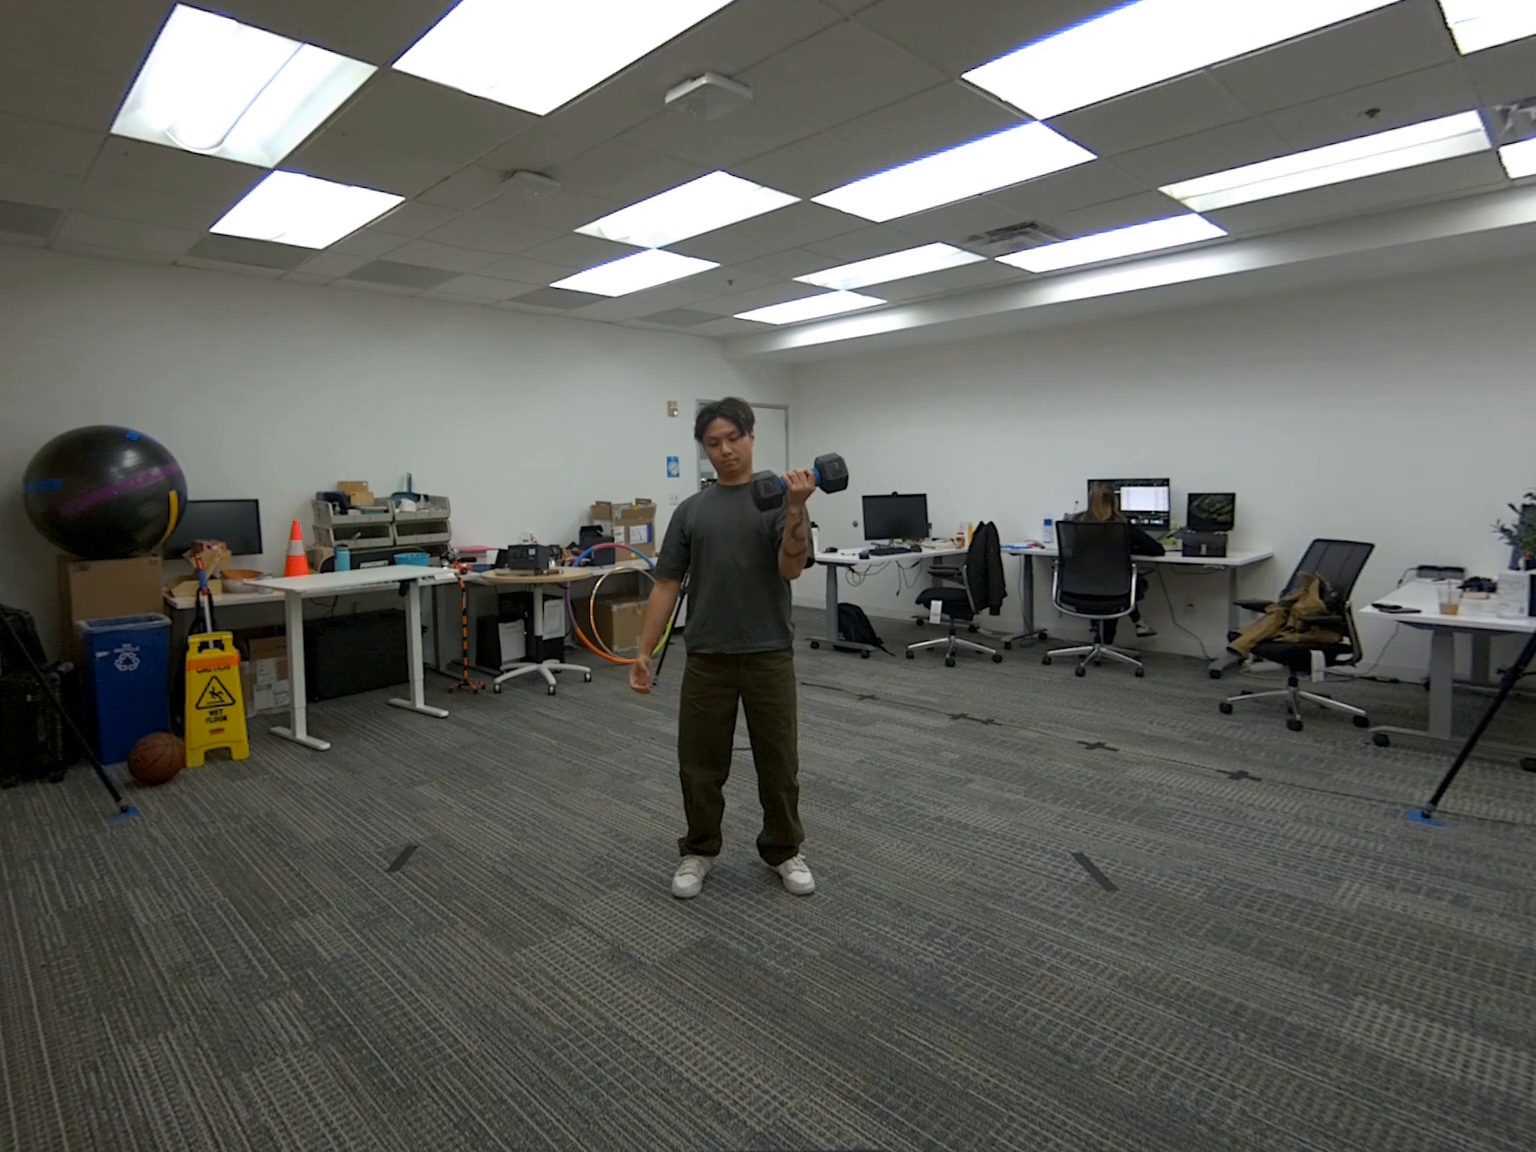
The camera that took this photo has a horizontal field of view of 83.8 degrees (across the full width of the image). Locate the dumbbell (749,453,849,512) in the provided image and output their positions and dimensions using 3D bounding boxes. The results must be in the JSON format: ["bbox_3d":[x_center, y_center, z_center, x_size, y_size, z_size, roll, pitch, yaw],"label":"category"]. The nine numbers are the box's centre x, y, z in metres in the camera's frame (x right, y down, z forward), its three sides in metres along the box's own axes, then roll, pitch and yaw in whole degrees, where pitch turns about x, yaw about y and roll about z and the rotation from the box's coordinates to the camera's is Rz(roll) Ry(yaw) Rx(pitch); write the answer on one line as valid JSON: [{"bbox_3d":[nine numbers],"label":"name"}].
[{"bbox_3d":[0.100,-0.283,2.605,0.292,0.106,0.126,-16,25,-8],"label":"dumbbell"}]
